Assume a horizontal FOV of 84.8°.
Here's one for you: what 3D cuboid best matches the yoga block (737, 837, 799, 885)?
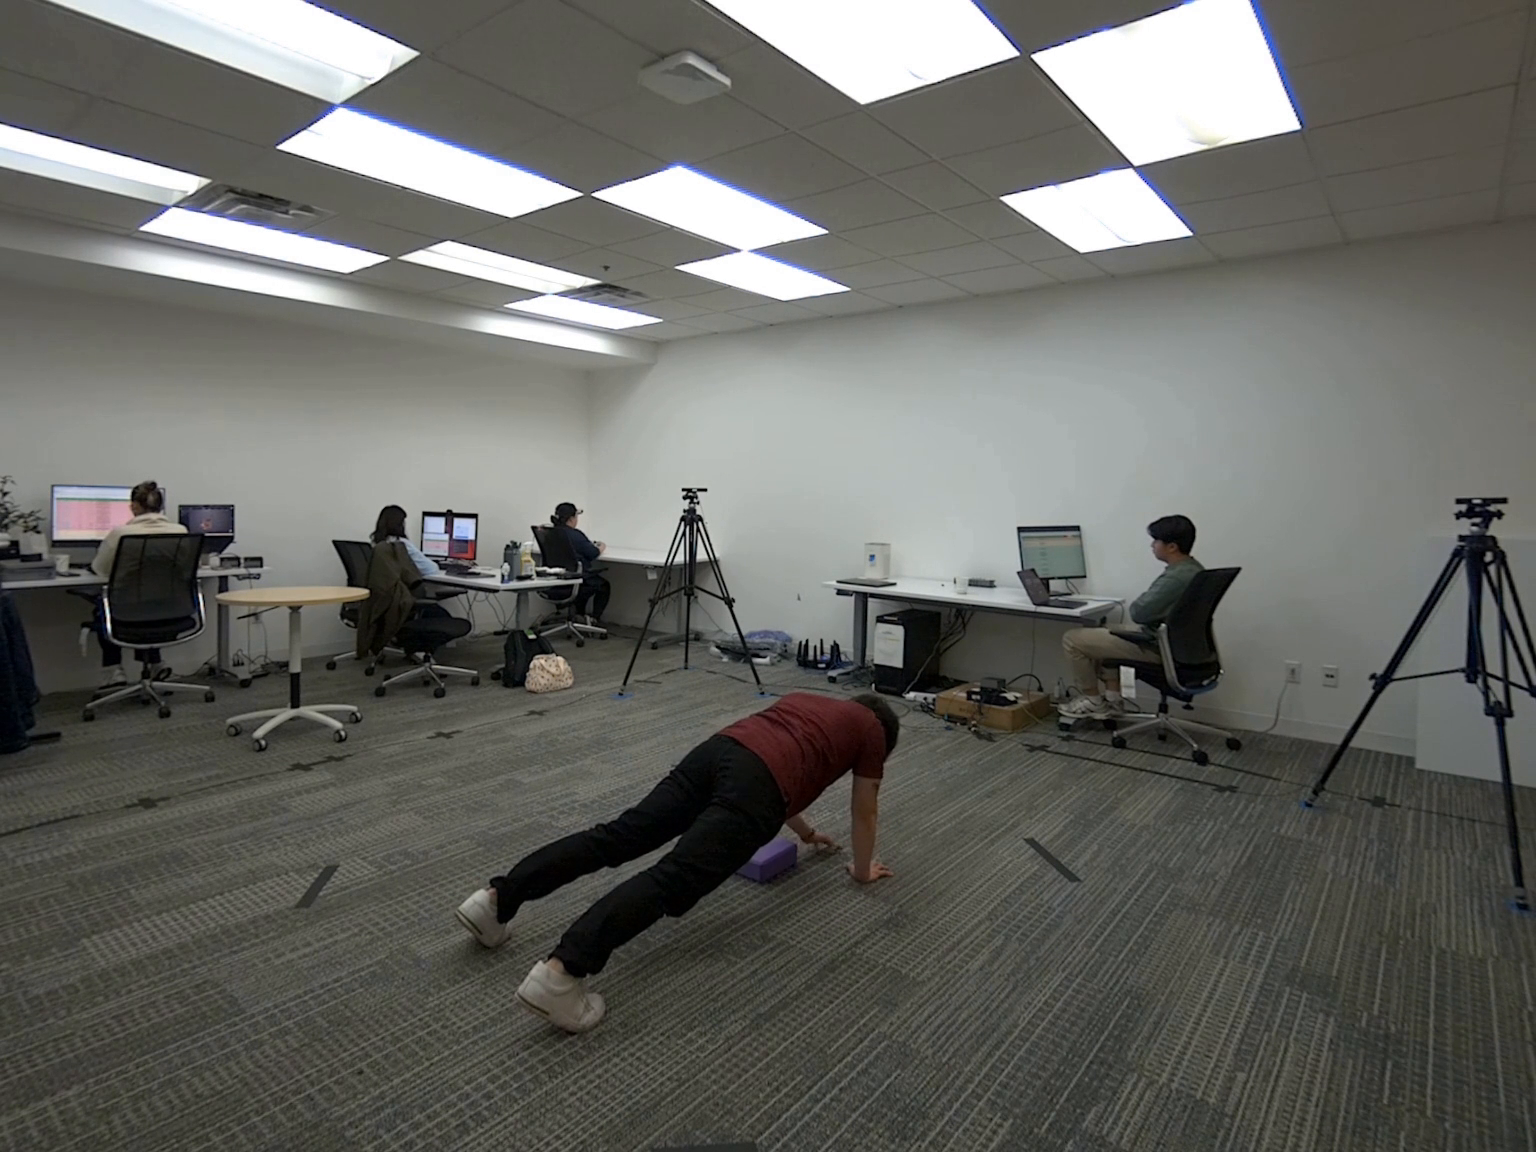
[{"bbox_3d":[-0.021,1.026,3.126,0.154,0.076,0.223,3,5,38],"label":"yoga block"}]
